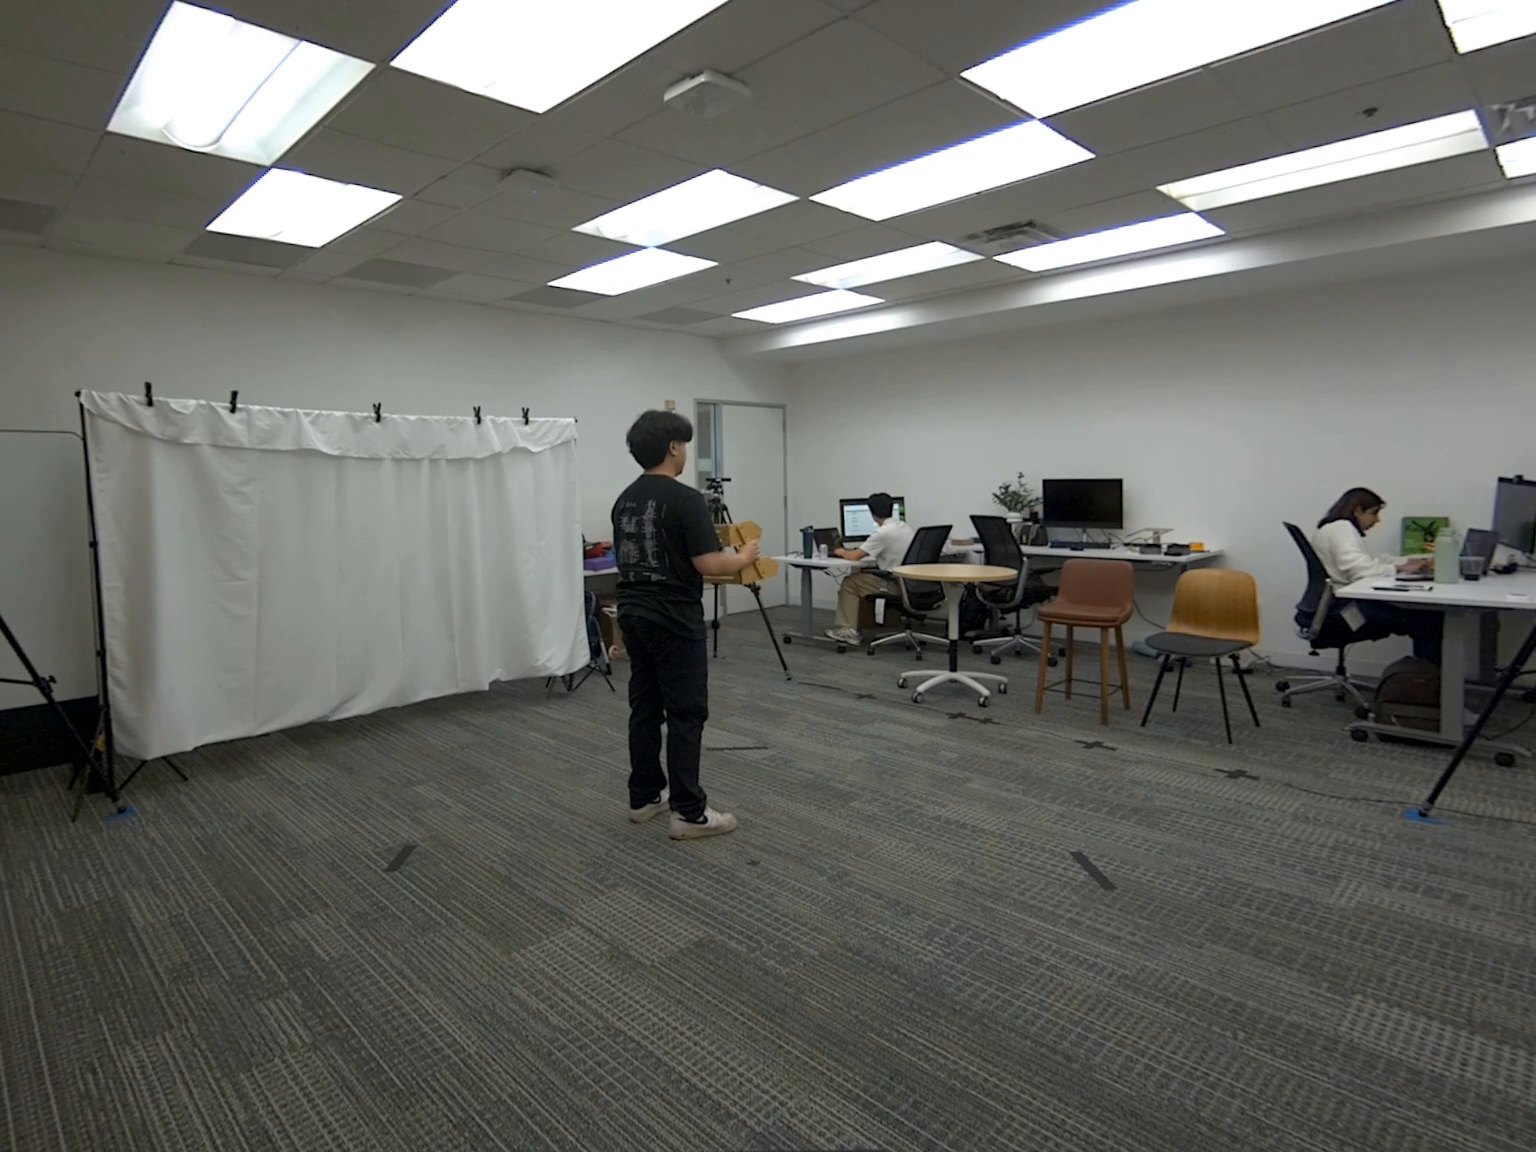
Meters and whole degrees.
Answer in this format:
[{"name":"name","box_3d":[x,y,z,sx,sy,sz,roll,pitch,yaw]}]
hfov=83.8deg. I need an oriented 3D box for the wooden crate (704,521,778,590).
[{"name":"wooden crate","box_3d":[-0.171,-0.114,3.724,0.334,0.271,0.295,2,11,42]}]
